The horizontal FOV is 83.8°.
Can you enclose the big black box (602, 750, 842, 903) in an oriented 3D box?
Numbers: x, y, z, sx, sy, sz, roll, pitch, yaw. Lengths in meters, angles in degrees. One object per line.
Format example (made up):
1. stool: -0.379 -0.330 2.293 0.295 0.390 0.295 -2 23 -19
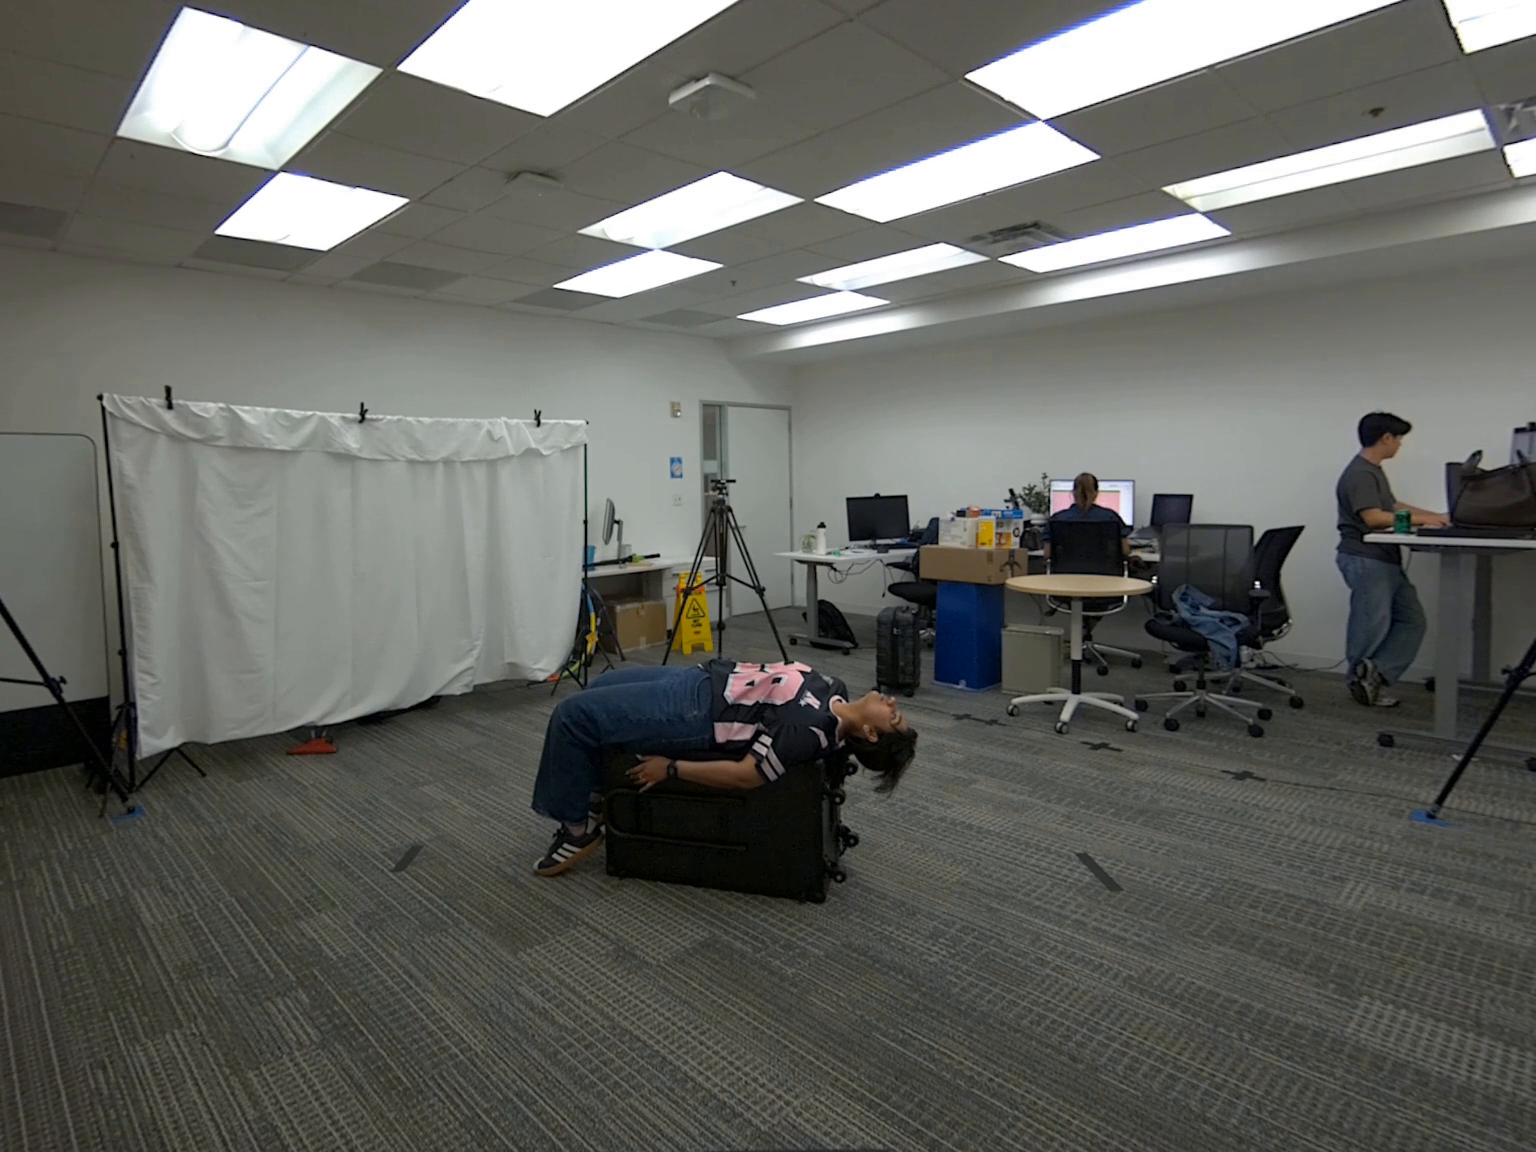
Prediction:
1. big black box: -0.118 0.798 3.049 0.883 0.522 0.380 1 4 17
